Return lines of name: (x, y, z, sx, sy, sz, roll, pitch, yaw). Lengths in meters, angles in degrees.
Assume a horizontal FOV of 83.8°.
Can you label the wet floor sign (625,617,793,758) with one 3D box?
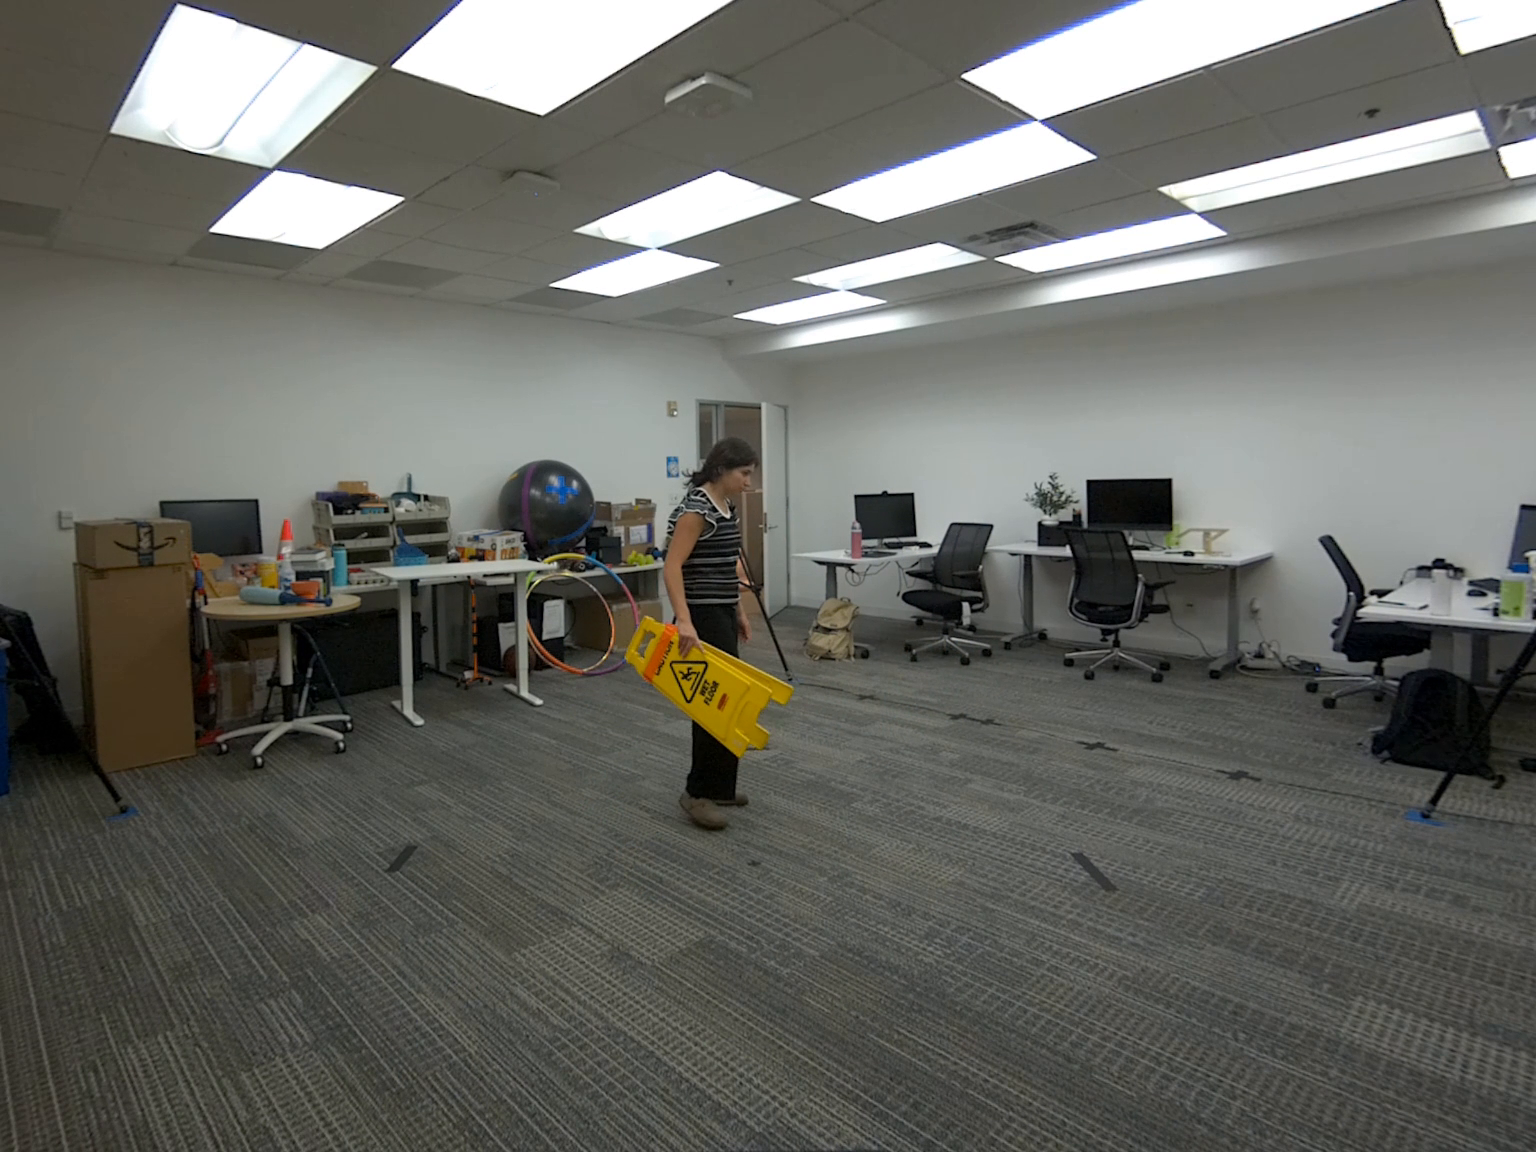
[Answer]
wet floor sign: (-0.272, 0.396, 3.306, 0.663, 0.281, 0.283, 29, 8, 20)
